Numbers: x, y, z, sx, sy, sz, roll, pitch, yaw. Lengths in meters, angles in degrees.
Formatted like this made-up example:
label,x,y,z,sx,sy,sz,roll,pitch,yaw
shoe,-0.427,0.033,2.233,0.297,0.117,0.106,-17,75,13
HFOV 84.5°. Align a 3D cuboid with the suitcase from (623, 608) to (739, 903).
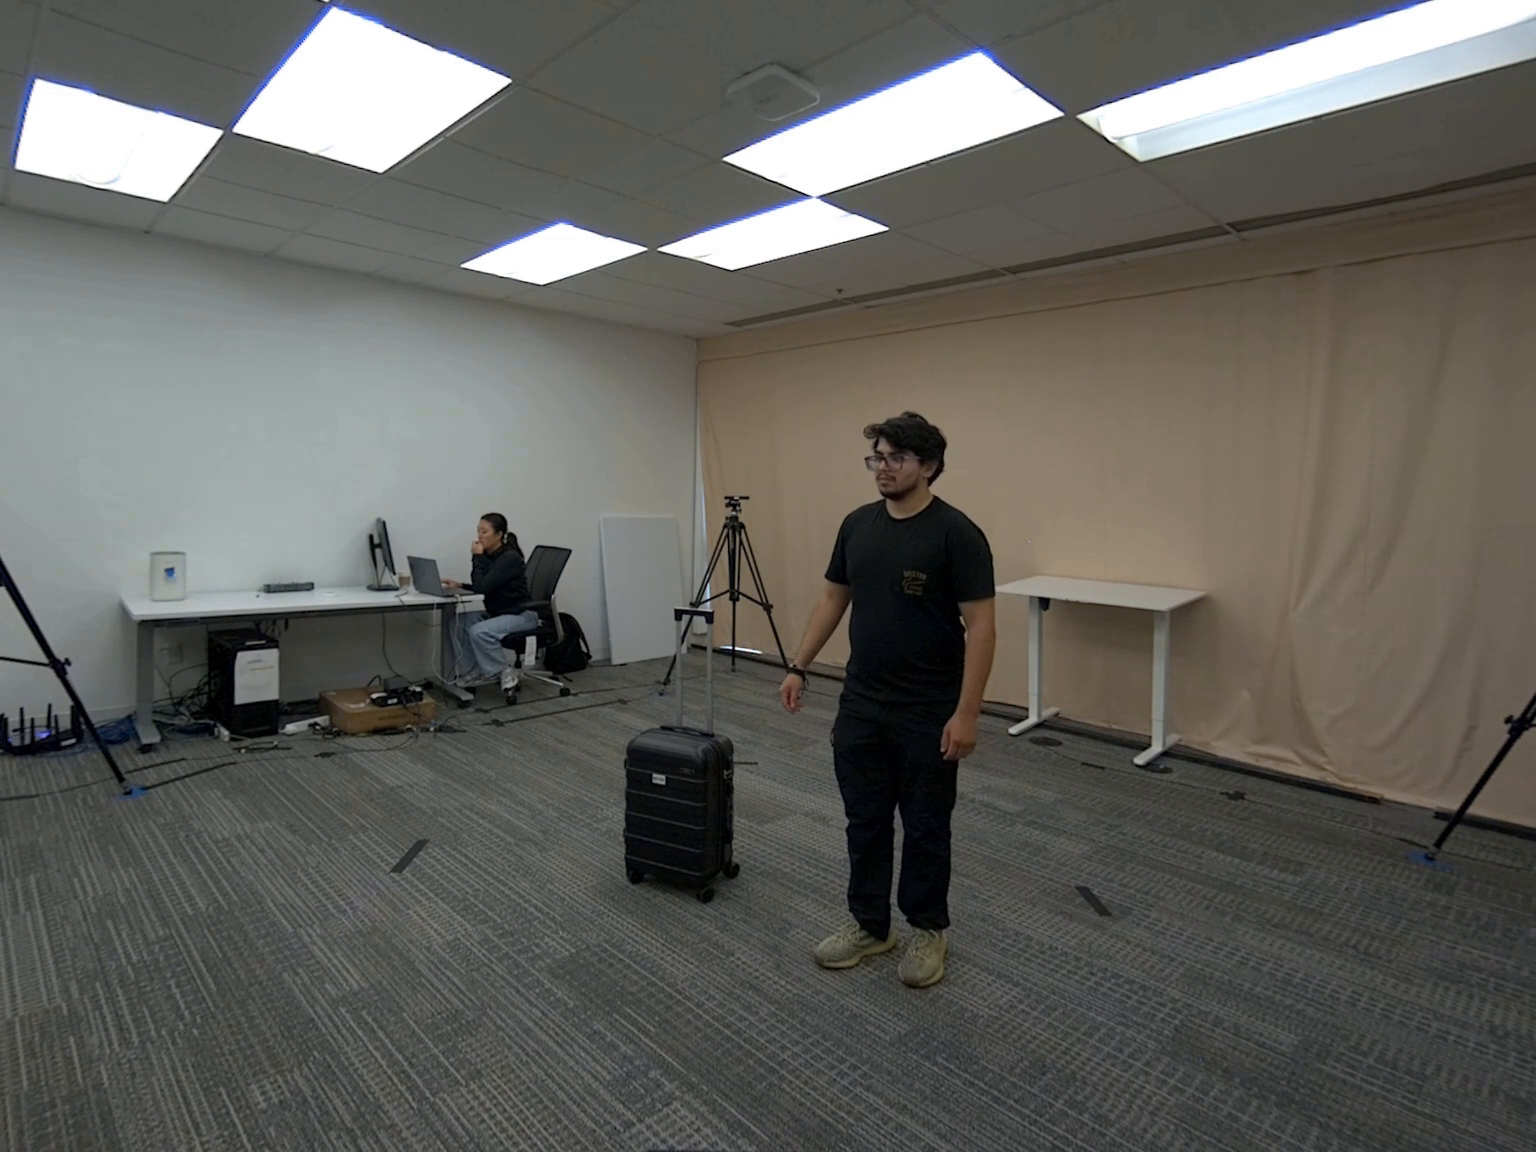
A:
label,x,y,z,sx,sy,sz,roll,pitch,yaw
suitcase,-0.322,0.635,3.013,0.391,0.974,0.253,2,7,24
